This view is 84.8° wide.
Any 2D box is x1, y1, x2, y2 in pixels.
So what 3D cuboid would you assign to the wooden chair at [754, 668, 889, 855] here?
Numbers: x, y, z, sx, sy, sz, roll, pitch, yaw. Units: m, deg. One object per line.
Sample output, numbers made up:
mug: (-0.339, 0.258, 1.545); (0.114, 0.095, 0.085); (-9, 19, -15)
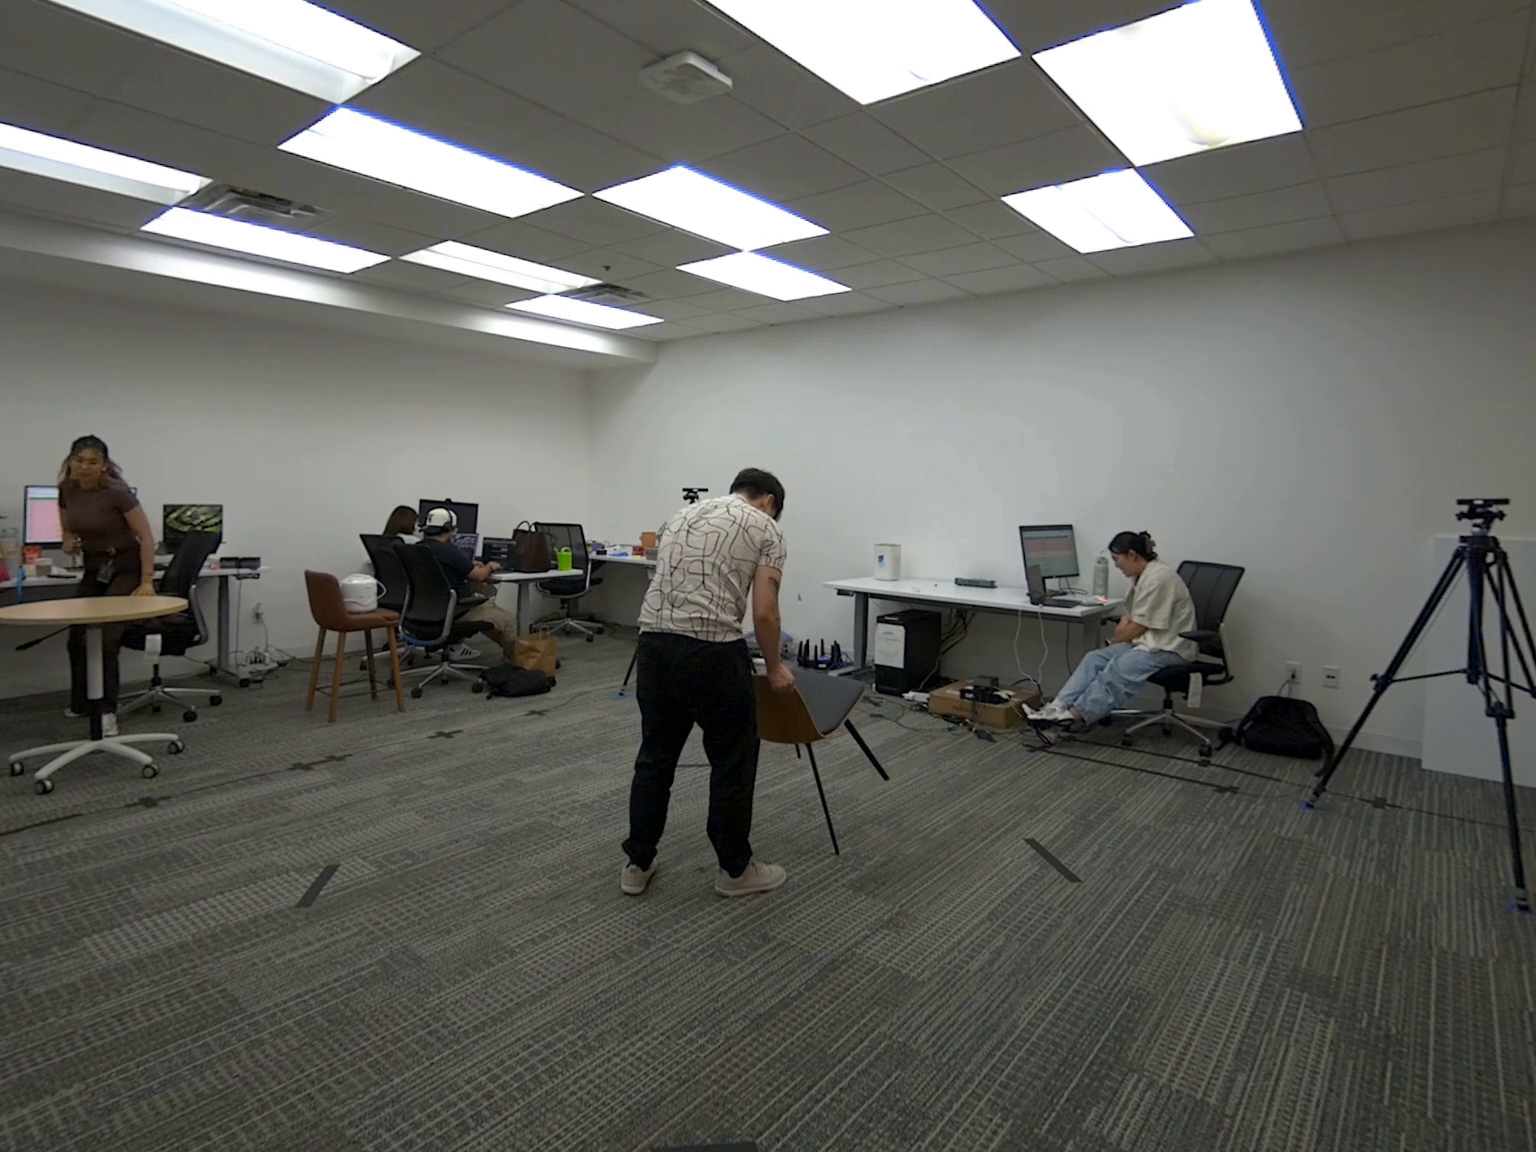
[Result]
wooden chair: (0.103, 0.560, 3.392); (0.494, 0.852, 0.521); (4, 33, 37)
